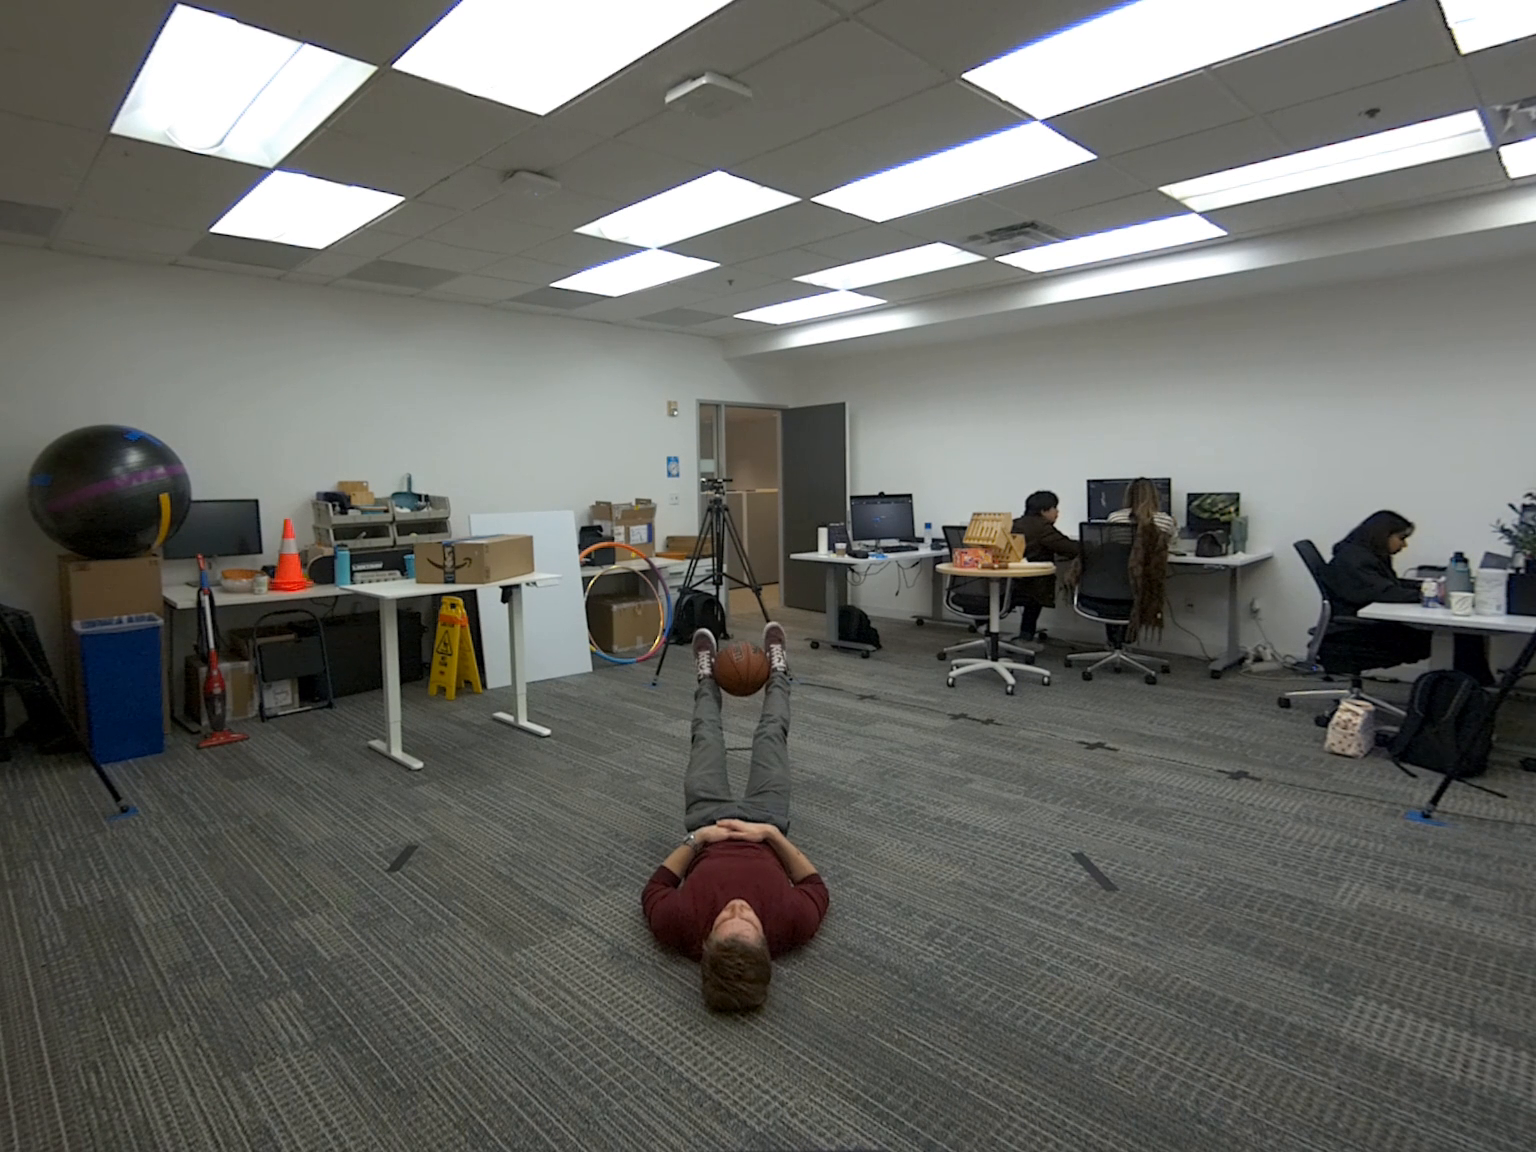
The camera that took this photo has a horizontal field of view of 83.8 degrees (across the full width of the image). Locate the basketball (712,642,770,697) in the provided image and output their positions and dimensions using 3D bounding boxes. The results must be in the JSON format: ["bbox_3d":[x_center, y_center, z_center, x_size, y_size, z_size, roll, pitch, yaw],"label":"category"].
[{"bbox_3d":[-0.108,0.404,3.680,0.236,0.236,0.236,0,1,-2],"label":"basketball"}]
